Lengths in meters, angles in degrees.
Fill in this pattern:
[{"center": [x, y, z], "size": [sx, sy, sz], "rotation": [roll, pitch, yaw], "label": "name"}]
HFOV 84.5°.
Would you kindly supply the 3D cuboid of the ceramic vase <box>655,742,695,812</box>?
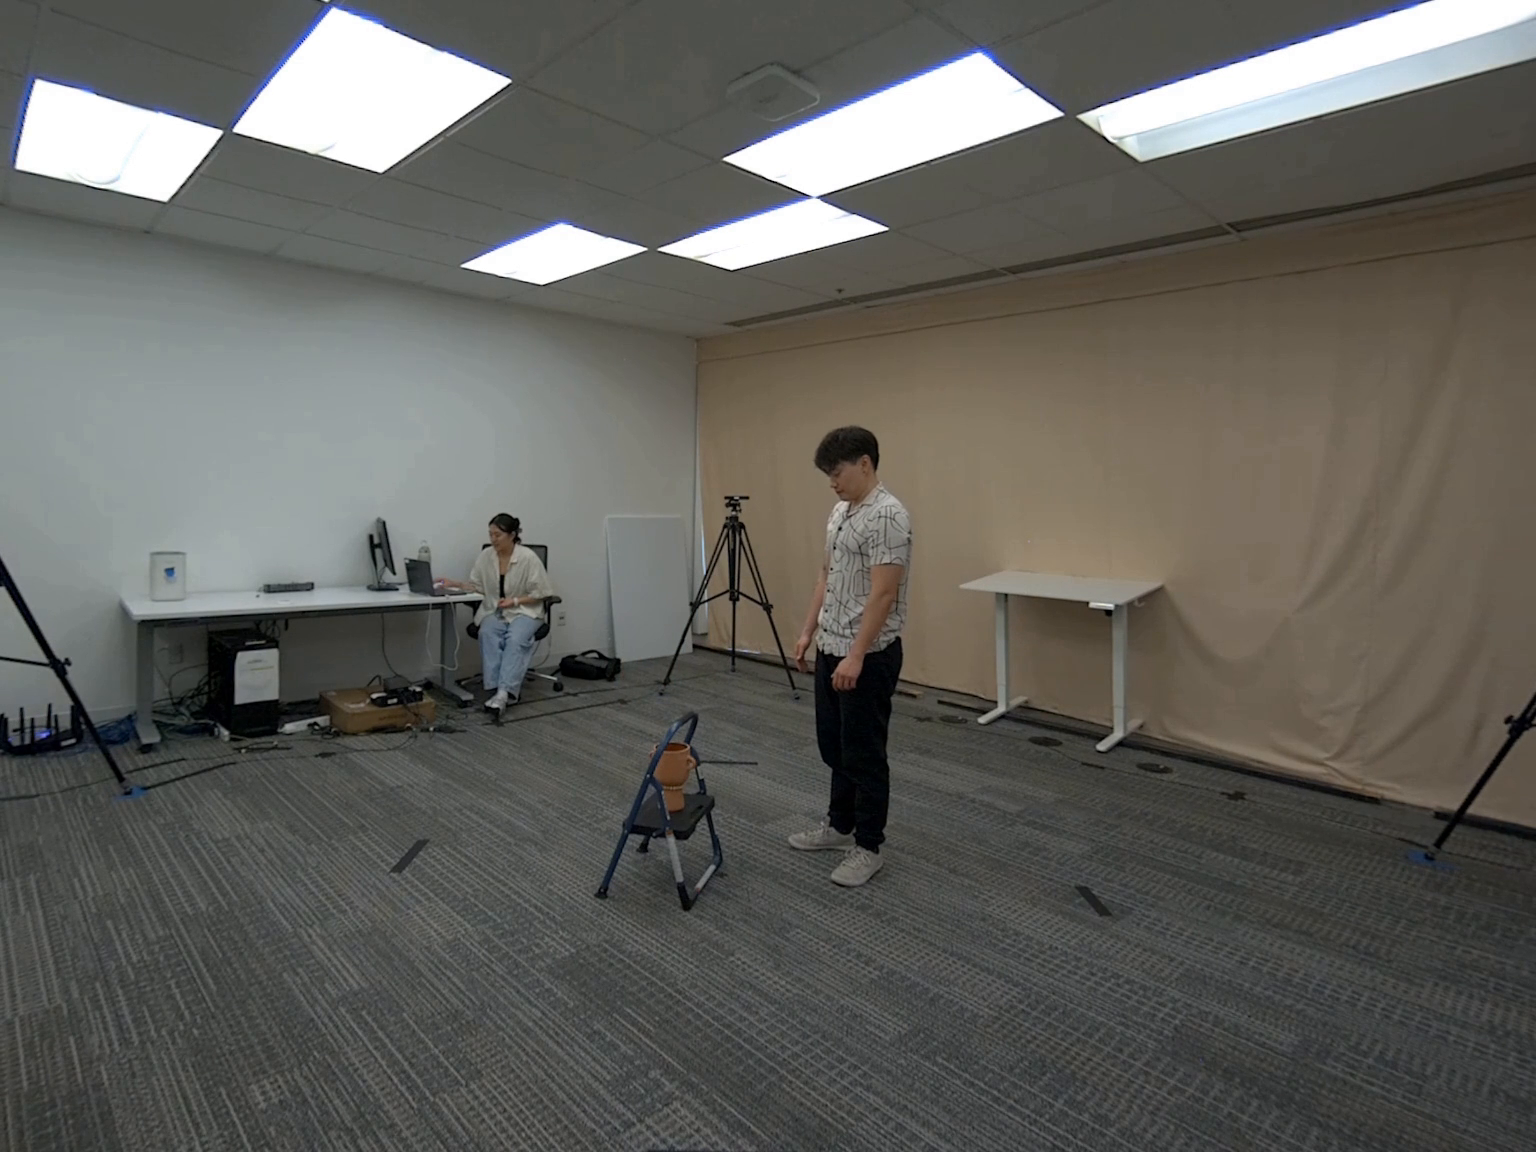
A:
[{"center": [-0.352, 0.724, 3.066], "size": [0.132, 0.219, 0.162], "rotation": [0, 3, -27], "label": "ceramic vase"}]
